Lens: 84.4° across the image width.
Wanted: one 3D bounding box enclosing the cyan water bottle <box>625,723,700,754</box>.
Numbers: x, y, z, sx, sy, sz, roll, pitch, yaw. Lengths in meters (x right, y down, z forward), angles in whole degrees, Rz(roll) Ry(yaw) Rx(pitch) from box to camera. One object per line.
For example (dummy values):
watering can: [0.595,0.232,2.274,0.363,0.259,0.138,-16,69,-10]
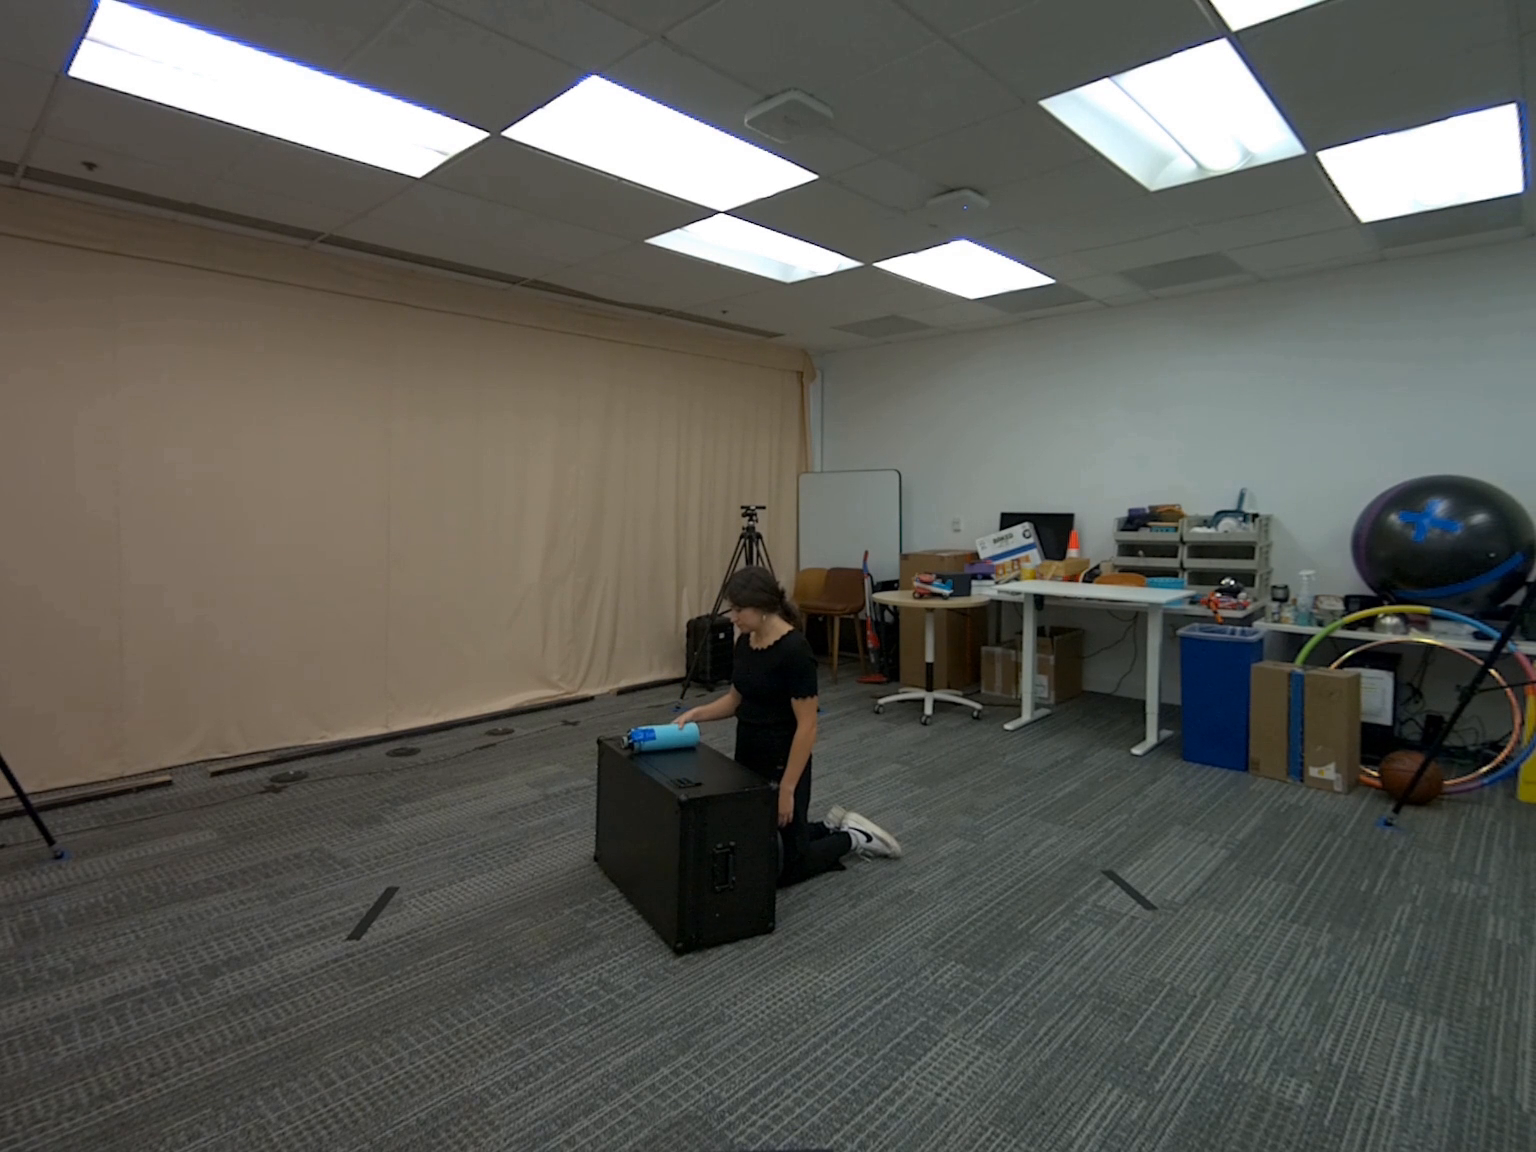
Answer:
cyan water bottle: [-0.401,0.602,3.118,0.277,0.092,0.094,3,2,-23]
